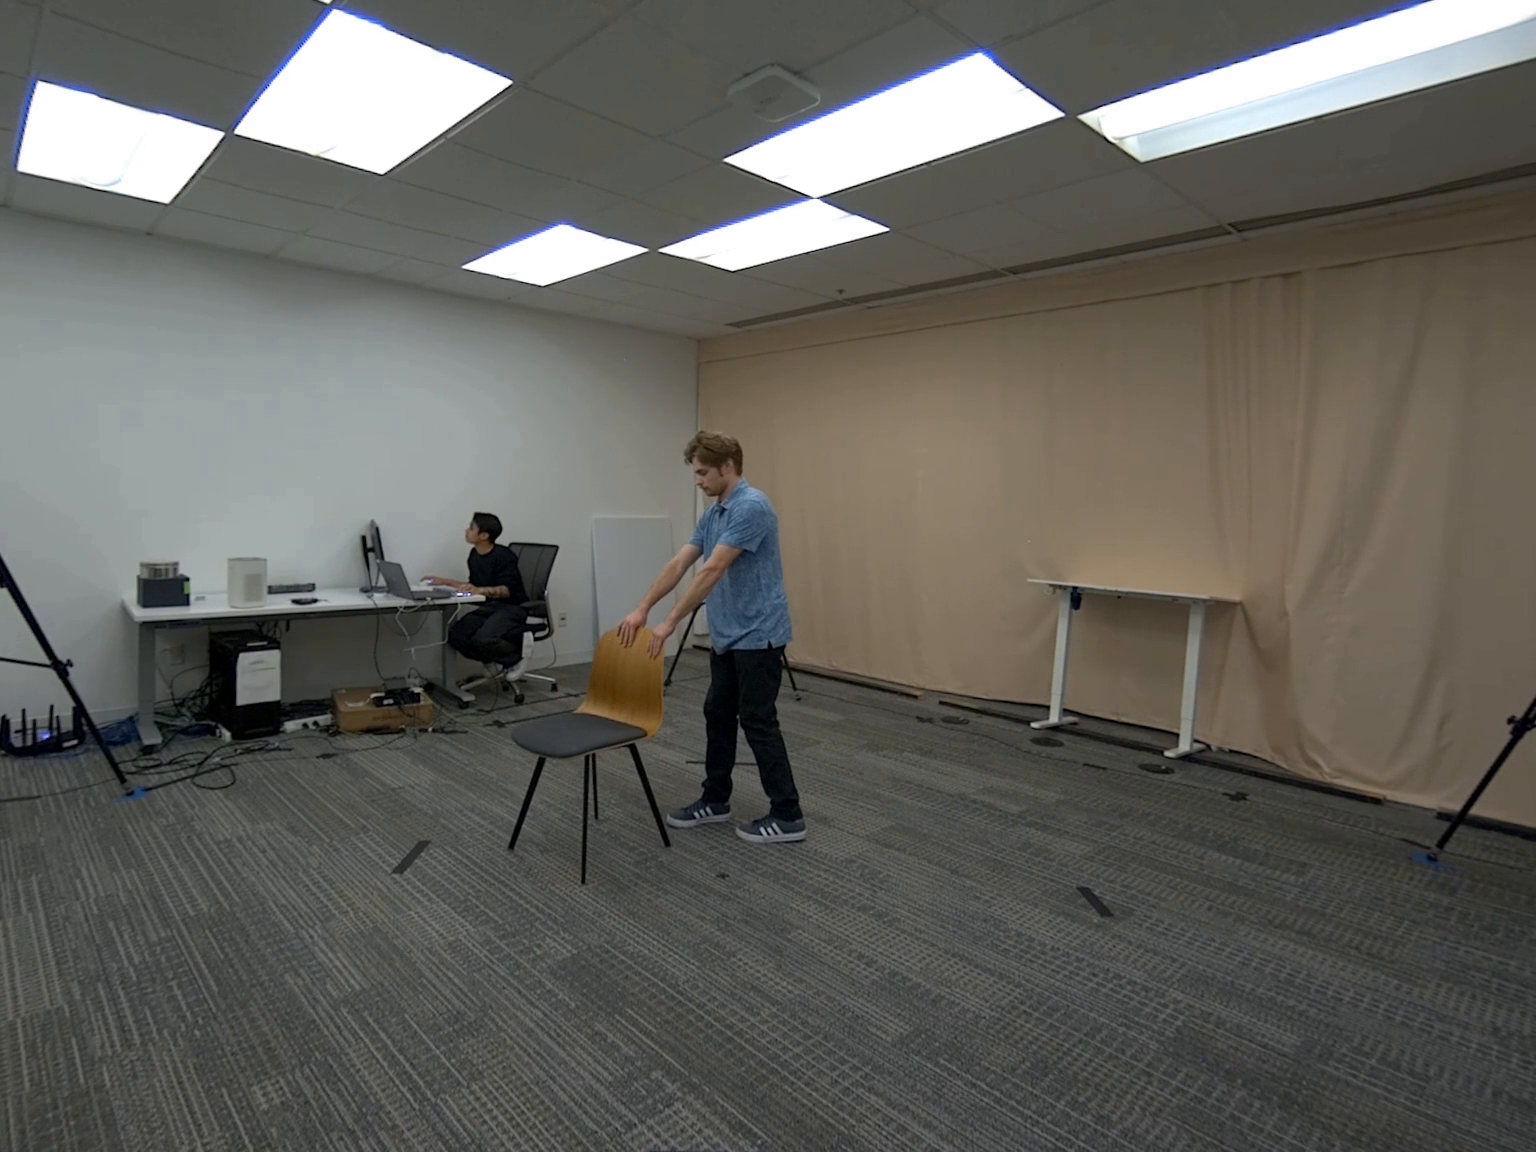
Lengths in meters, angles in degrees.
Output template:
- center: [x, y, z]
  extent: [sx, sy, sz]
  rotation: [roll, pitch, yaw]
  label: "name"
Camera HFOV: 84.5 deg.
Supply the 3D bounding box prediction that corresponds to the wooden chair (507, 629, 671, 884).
- center: [-0.698, 0.650, 3.283]
  extent: [0.490, 0.877, 0.510]
  rotation: [4, 0, 39]
  label: "wooden chair"
